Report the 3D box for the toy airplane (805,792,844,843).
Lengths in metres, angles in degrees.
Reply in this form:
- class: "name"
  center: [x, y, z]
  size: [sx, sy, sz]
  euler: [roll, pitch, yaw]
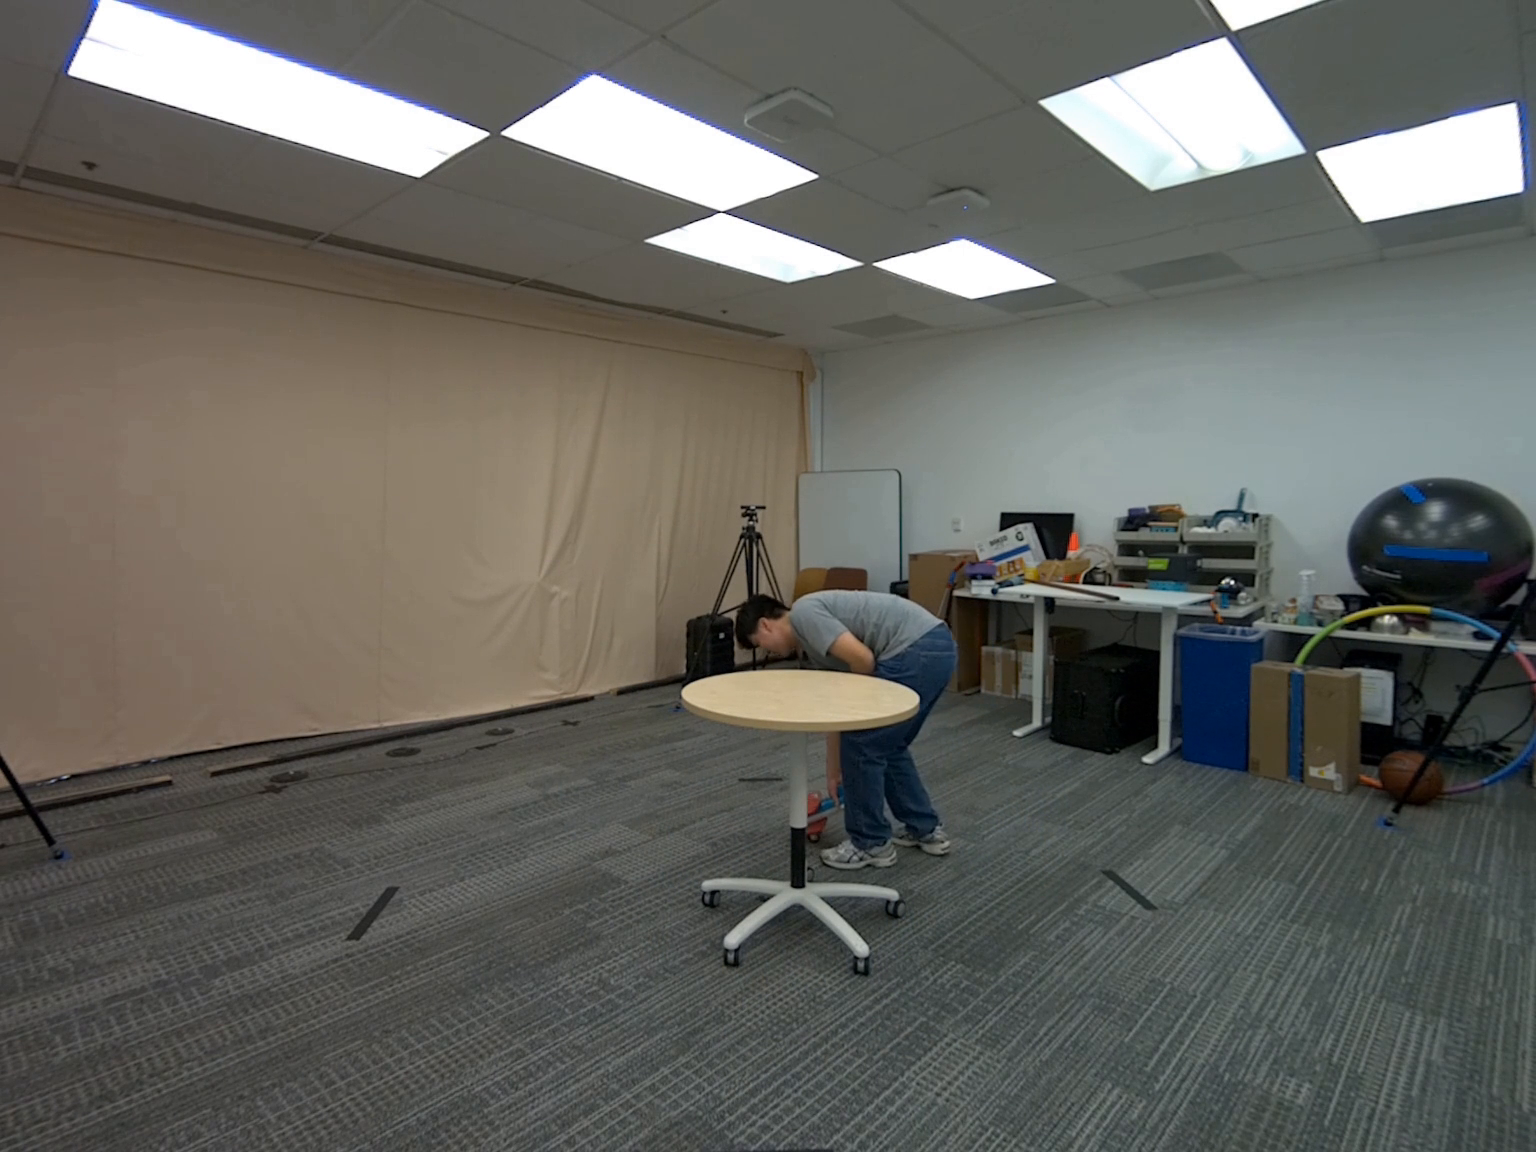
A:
- class: "toy airplane"
  center: [0.240, 0.993, 3.538]
  size: [0.257, 0.157, 0.252]
  euler: [-35, -2, -17]
